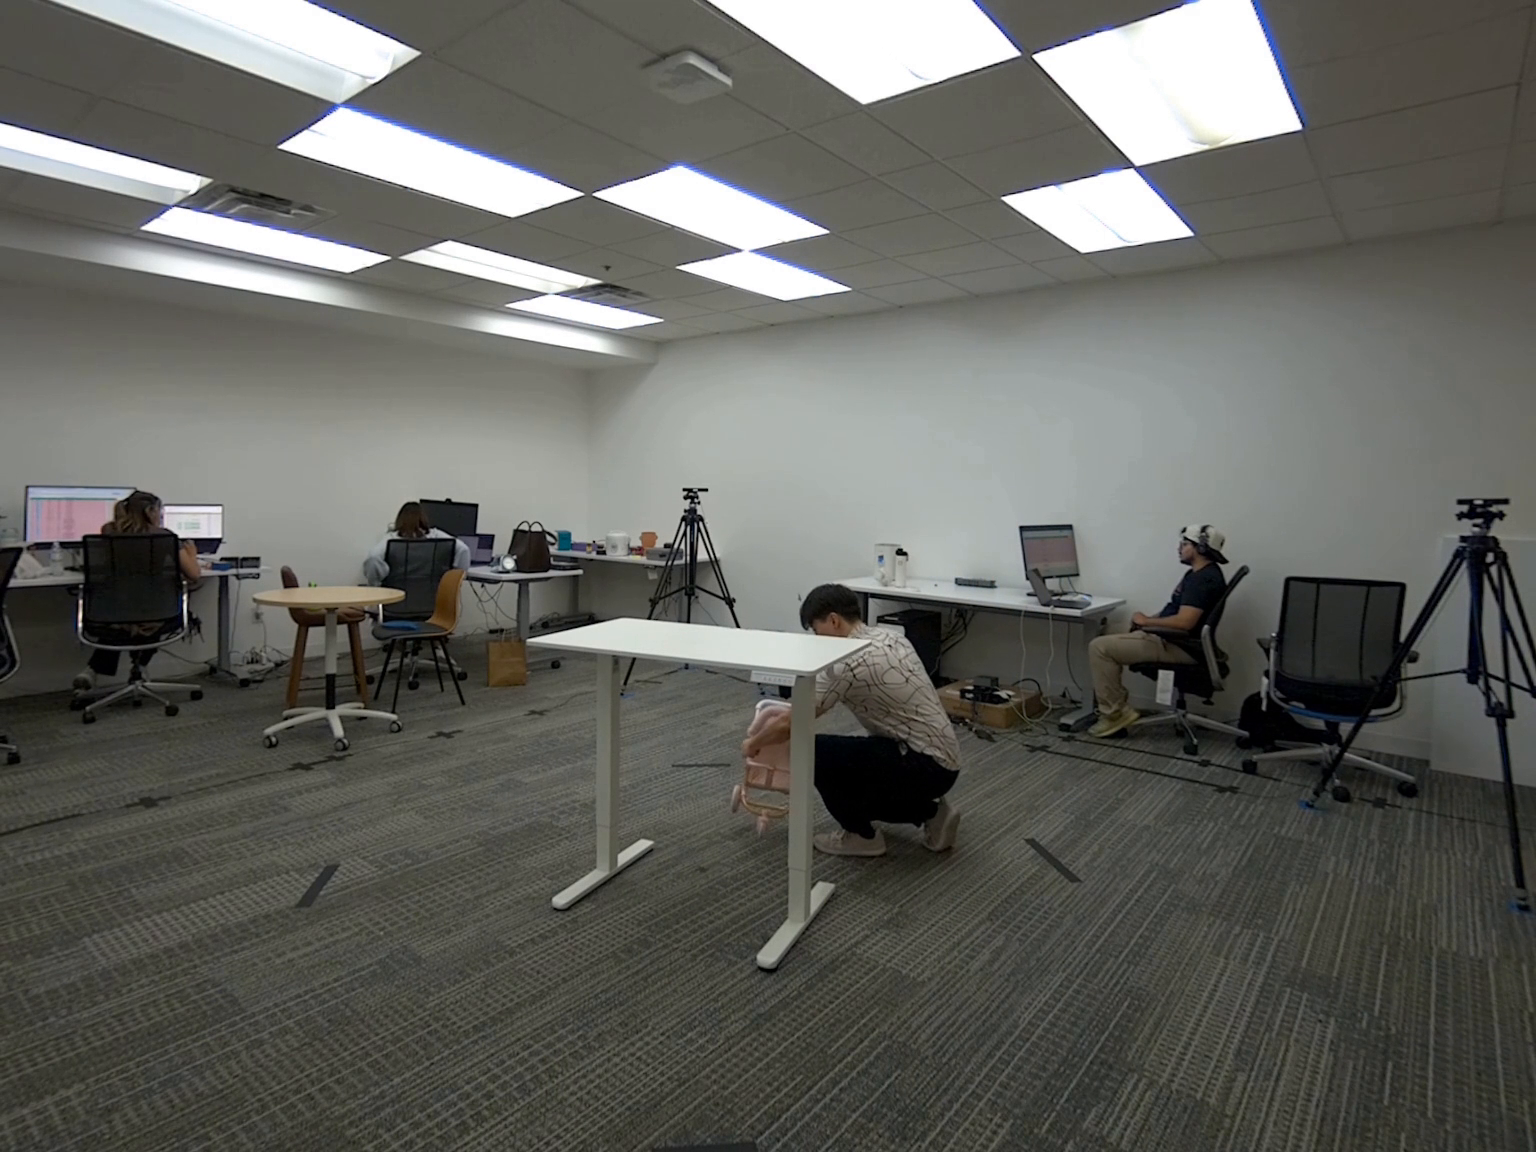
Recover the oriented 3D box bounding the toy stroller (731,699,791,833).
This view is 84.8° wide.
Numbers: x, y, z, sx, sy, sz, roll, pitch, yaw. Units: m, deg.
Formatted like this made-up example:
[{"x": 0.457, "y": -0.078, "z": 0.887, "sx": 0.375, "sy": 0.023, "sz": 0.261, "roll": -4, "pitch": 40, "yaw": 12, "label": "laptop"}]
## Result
[{"x": 0.000, "y": 0.766, "z": 3.434, "sx": 0.284, "sy": 0.540, "sz": 0.335, "roll": 10, "pitch": -13, "yaw": 6, "label": "toy stroller"}]
